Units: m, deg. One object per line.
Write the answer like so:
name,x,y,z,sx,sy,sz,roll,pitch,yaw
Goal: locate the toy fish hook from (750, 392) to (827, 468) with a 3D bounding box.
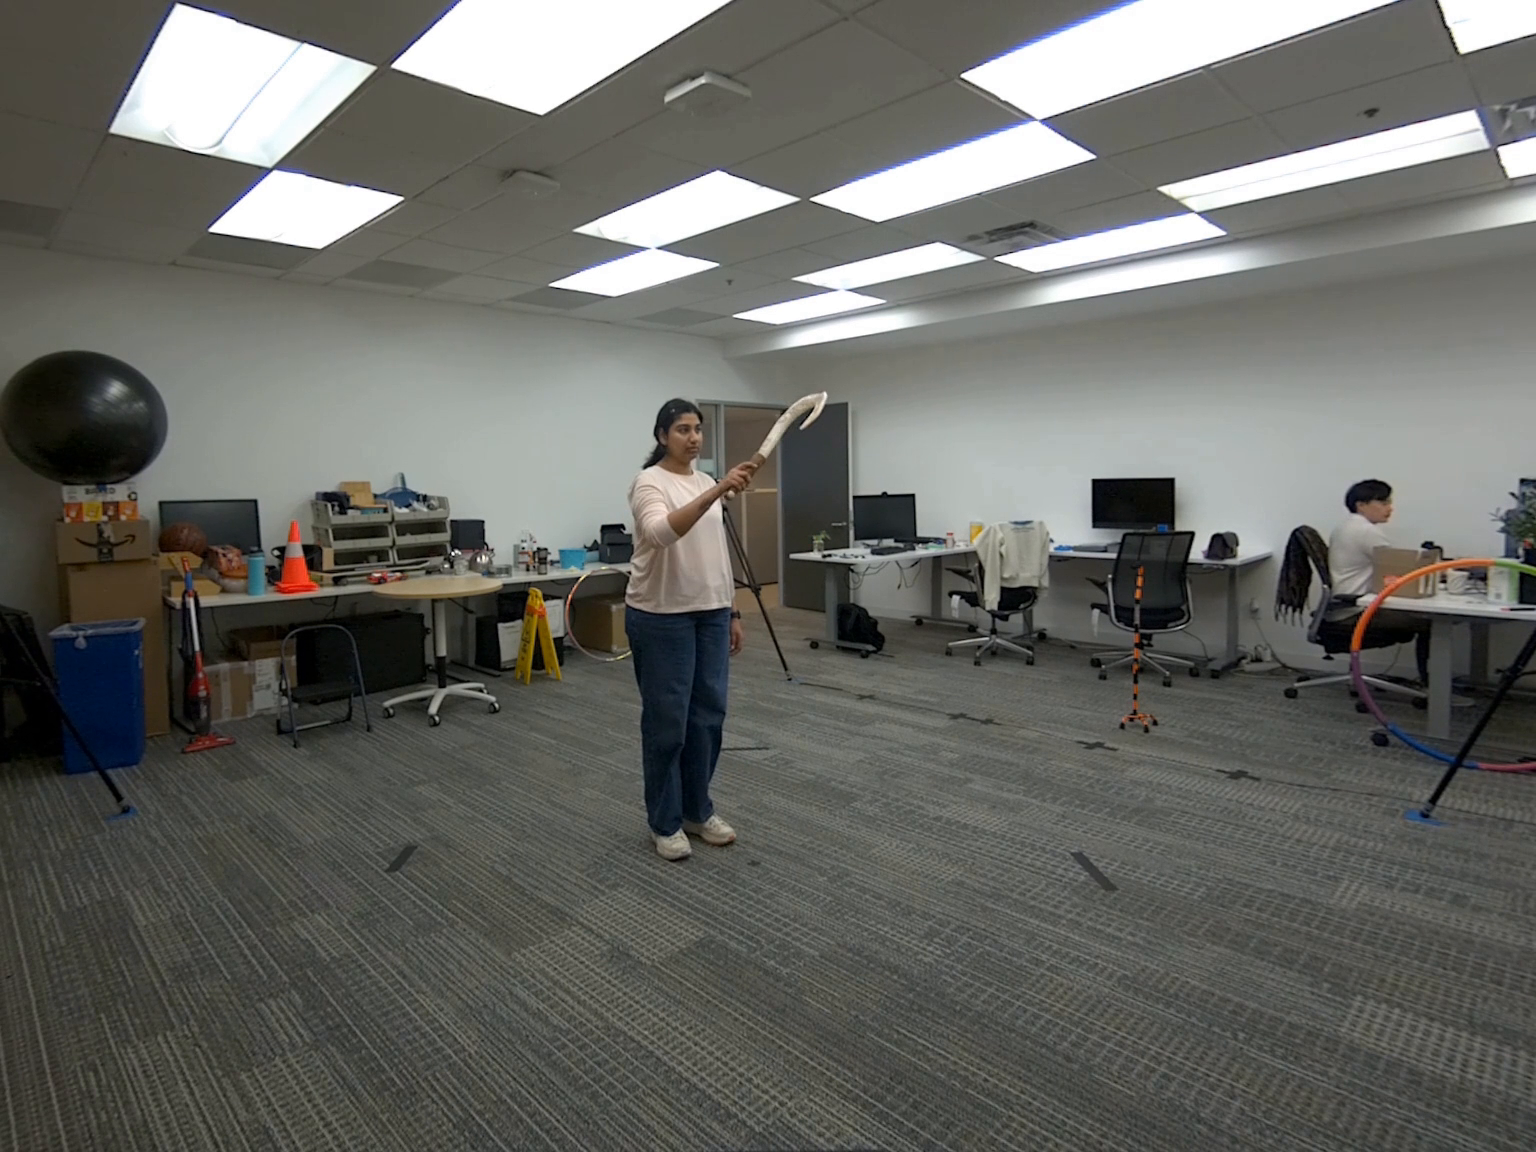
toy fish hook,0.024,-0.433,2.879,0.047,0.508,0.229,44,-21,-21
